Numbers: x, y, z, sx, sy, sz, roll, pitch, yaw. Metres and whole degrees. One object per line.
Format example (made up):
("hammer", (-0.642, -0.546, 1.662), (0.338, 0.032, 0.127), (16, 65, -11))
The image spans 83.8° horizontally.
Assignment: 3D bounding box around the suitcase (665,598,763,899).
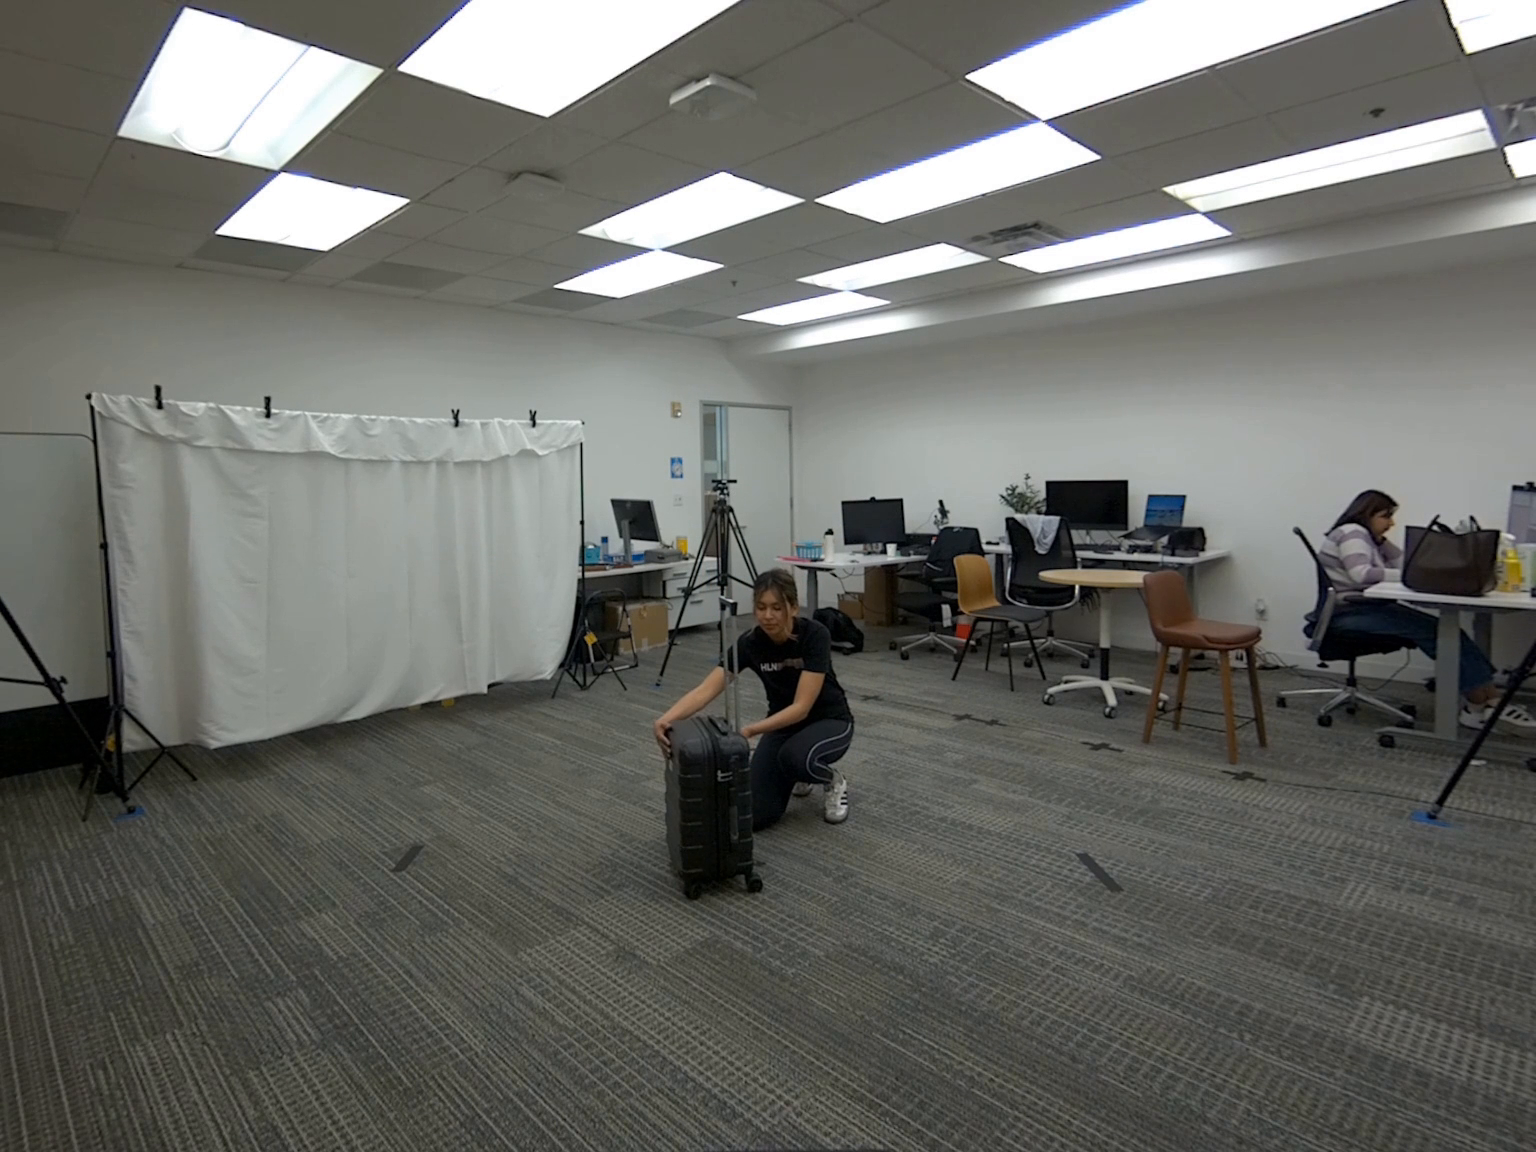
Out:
("suitcase", (-0.219, 0.590, 2.985), (0.254, 0.975, 0.390), (-3, 4, -13))
